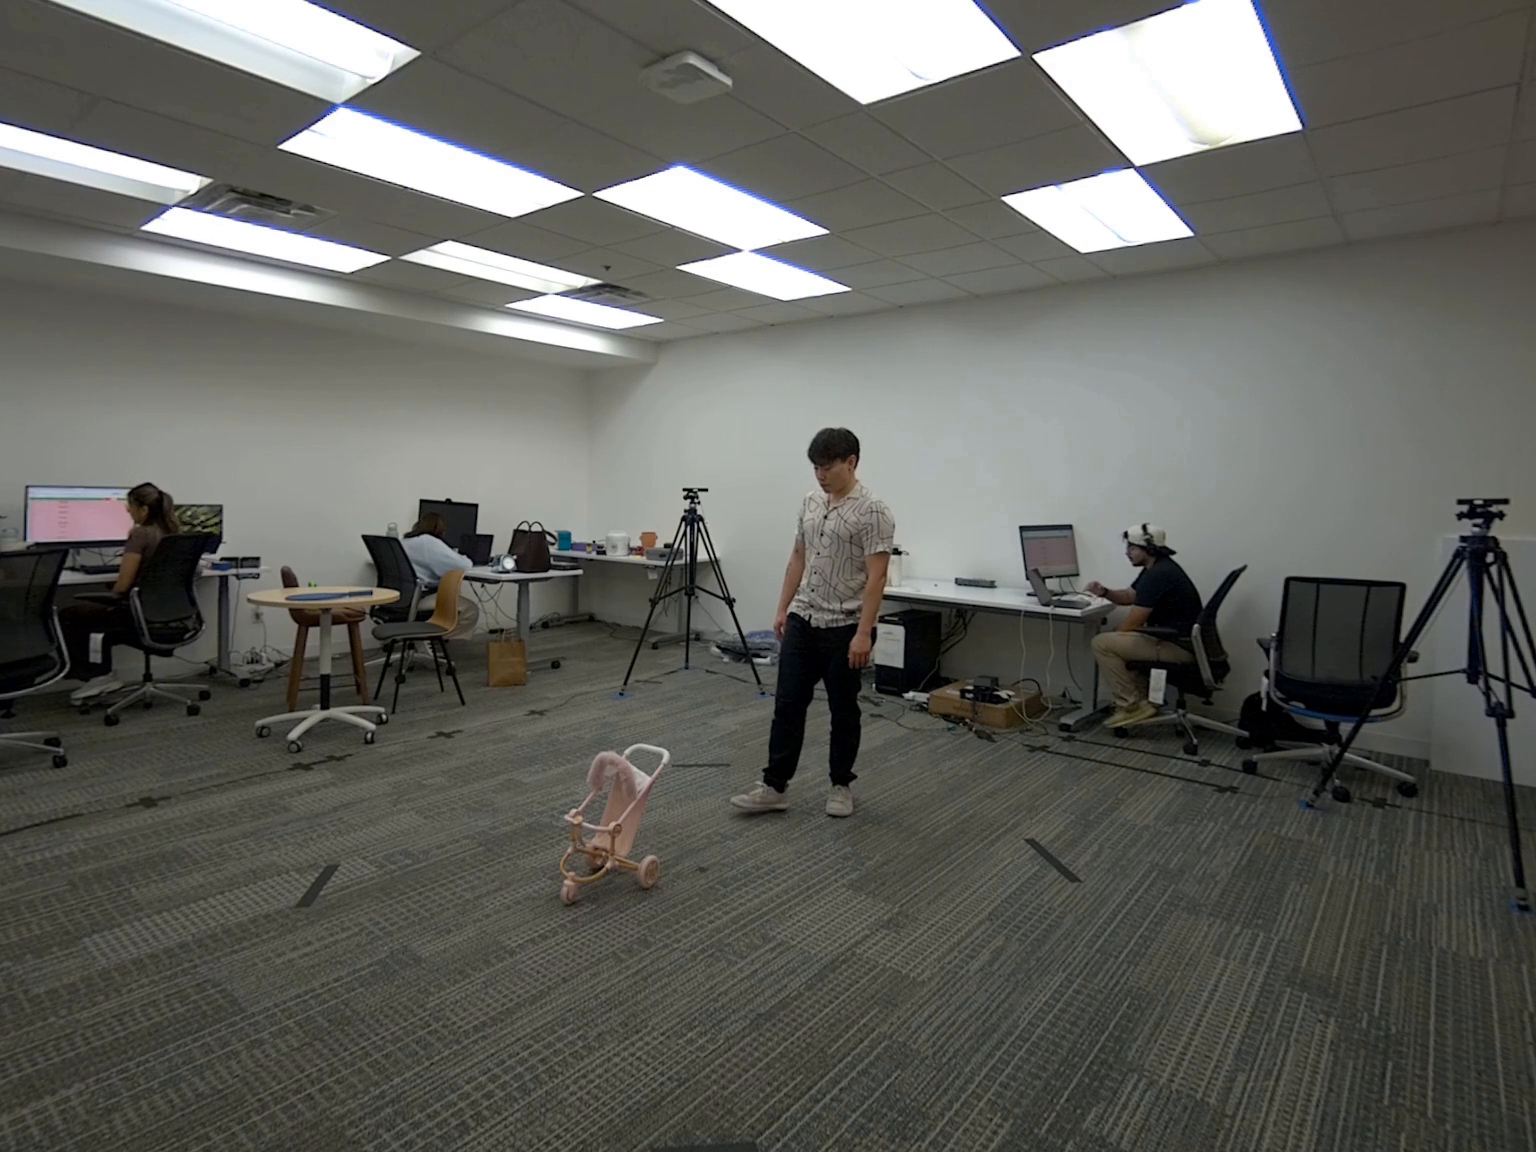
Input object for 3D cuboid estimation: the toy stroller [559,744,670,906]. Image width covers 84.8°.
[{"bbox_3d":[-0.564,0.852,2.971,0.290,0.539,0.328,2,-12,39],"label":"toy stroller"}]
